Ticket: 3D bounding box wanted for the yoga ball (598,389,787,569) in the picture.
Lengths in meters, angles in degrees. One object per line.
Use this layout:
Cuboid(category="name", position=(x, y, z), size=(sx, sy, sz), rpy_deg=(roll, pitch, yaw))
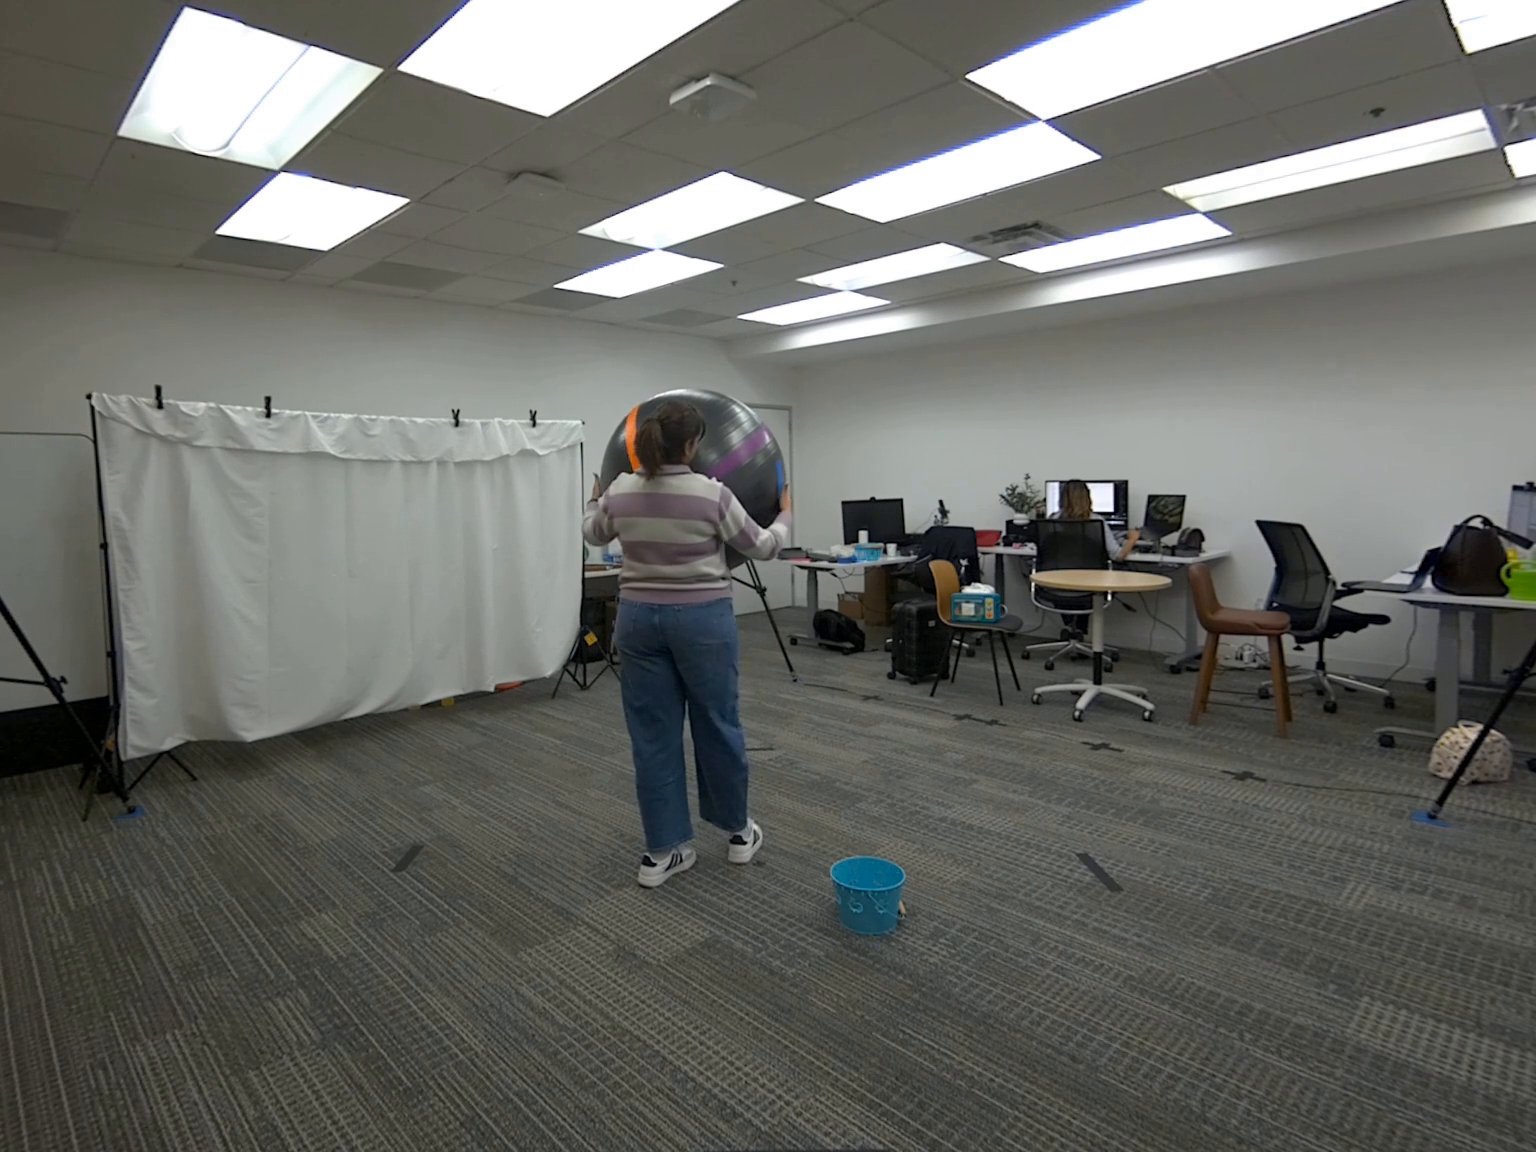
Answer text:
Cuboid(category="yoga ball", position=(-0.302, -0.369, 3.467), size=(0.757, 0.755, 0.762), rpy_deg=(-1, 5, -2))
